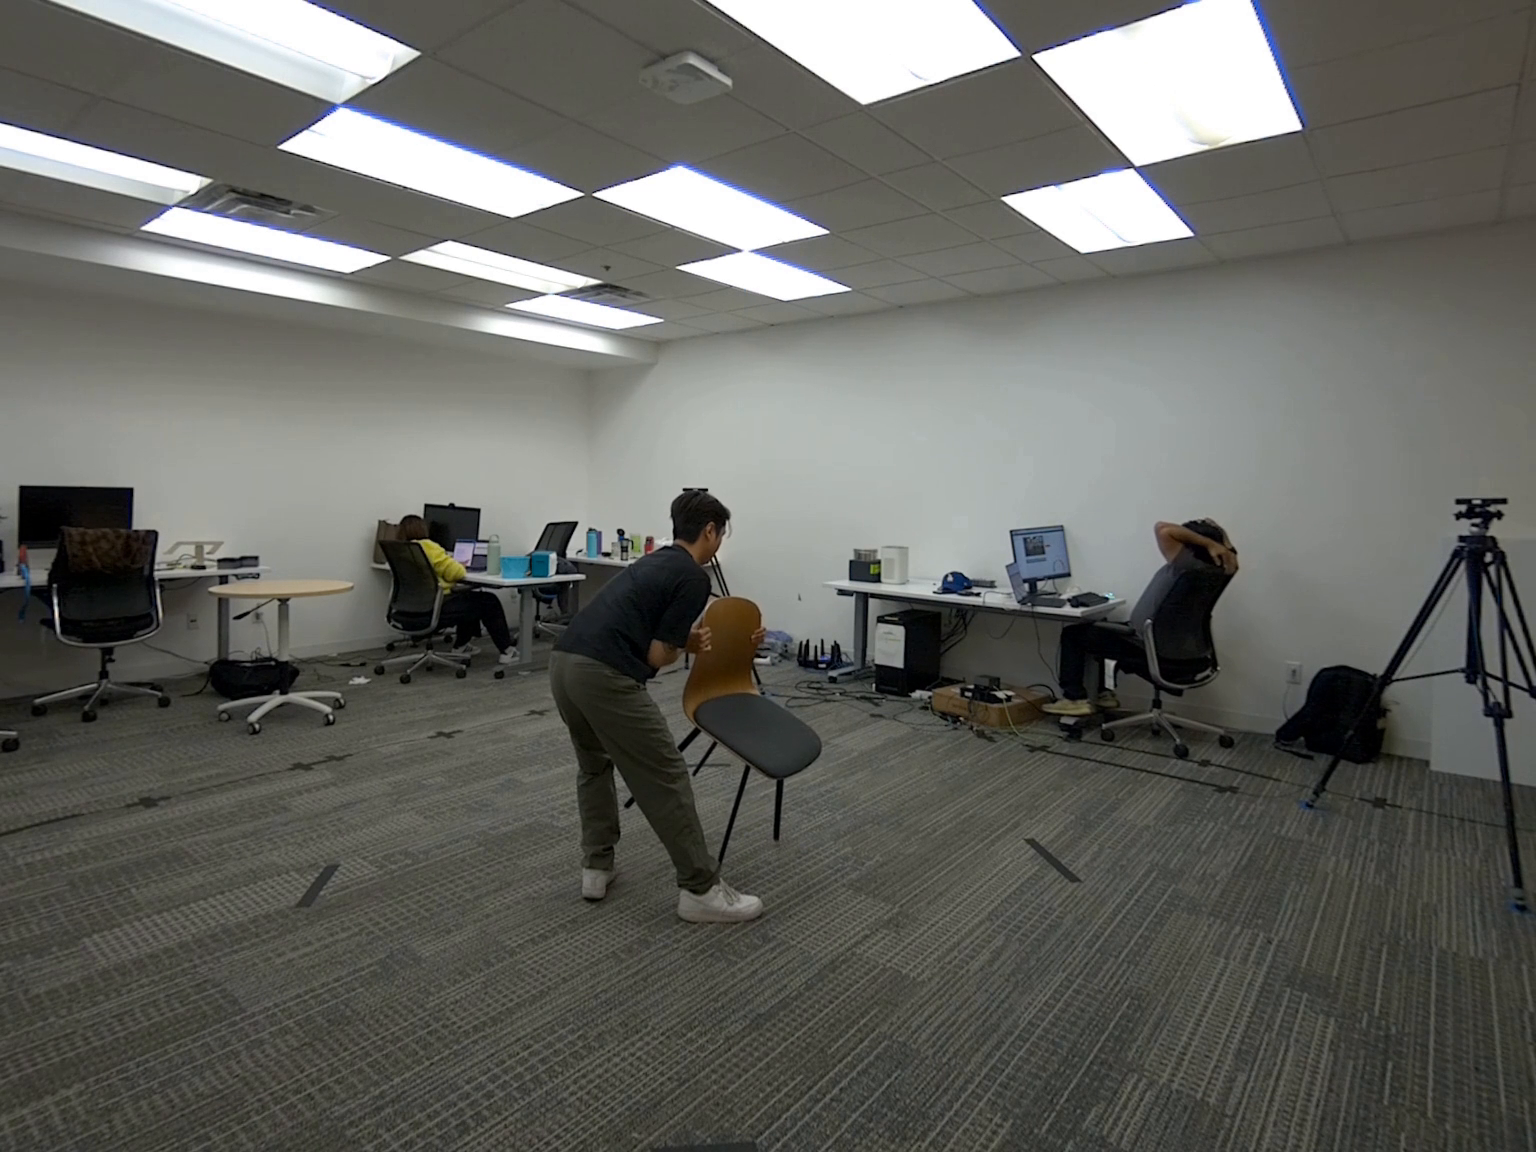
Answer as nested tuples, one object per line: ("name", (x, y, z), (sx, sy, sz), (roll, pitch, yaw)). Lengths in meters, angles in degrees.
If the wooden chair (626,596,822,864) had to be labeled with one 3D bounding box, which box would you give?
("wooden chair", (-0.098, 0.581, 3.151), (0.542, 0.870, 0.465), (27, 16, 29))
